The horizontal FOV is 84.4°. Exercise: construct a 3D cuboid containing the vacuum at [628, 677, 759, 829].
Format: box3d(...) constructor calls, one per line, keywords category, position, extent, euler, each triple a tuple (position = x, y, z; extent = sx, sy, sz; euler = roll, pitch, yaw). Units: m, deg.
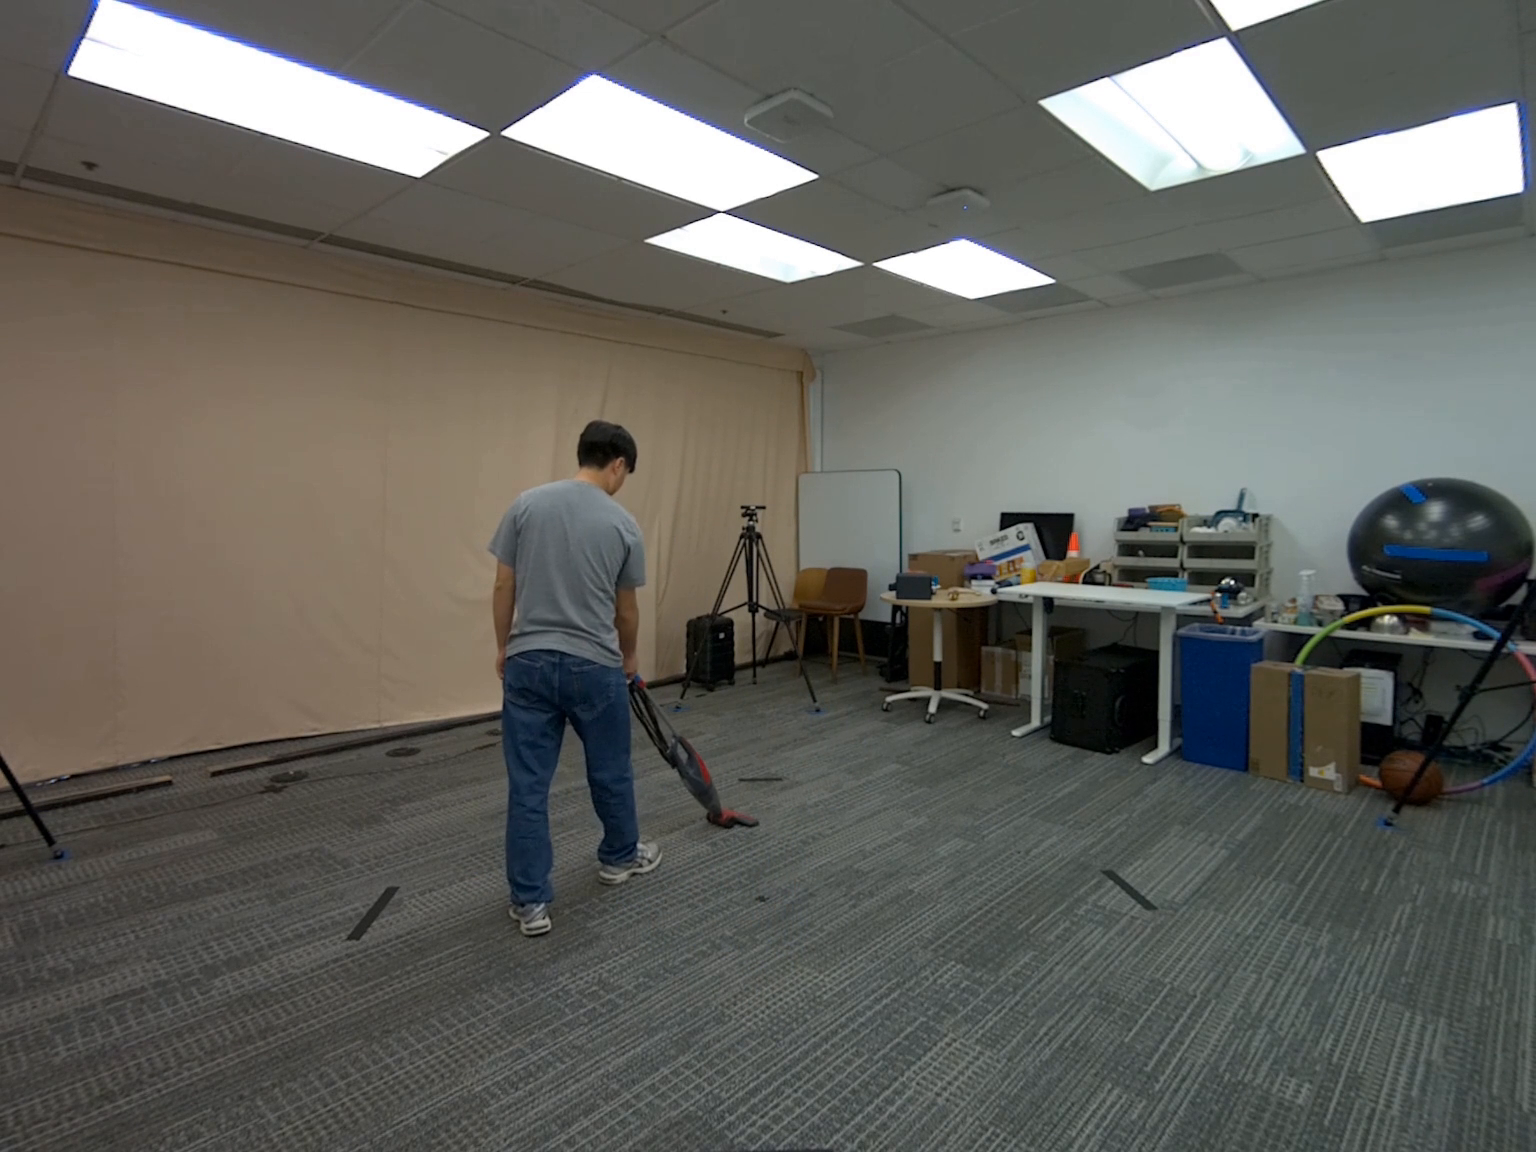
box3d(category="vacuum", position=(-0.388, 0.700, 3.475), extent=(0.260, 1.020, 0.143), euler=(-3, 40, 40))
